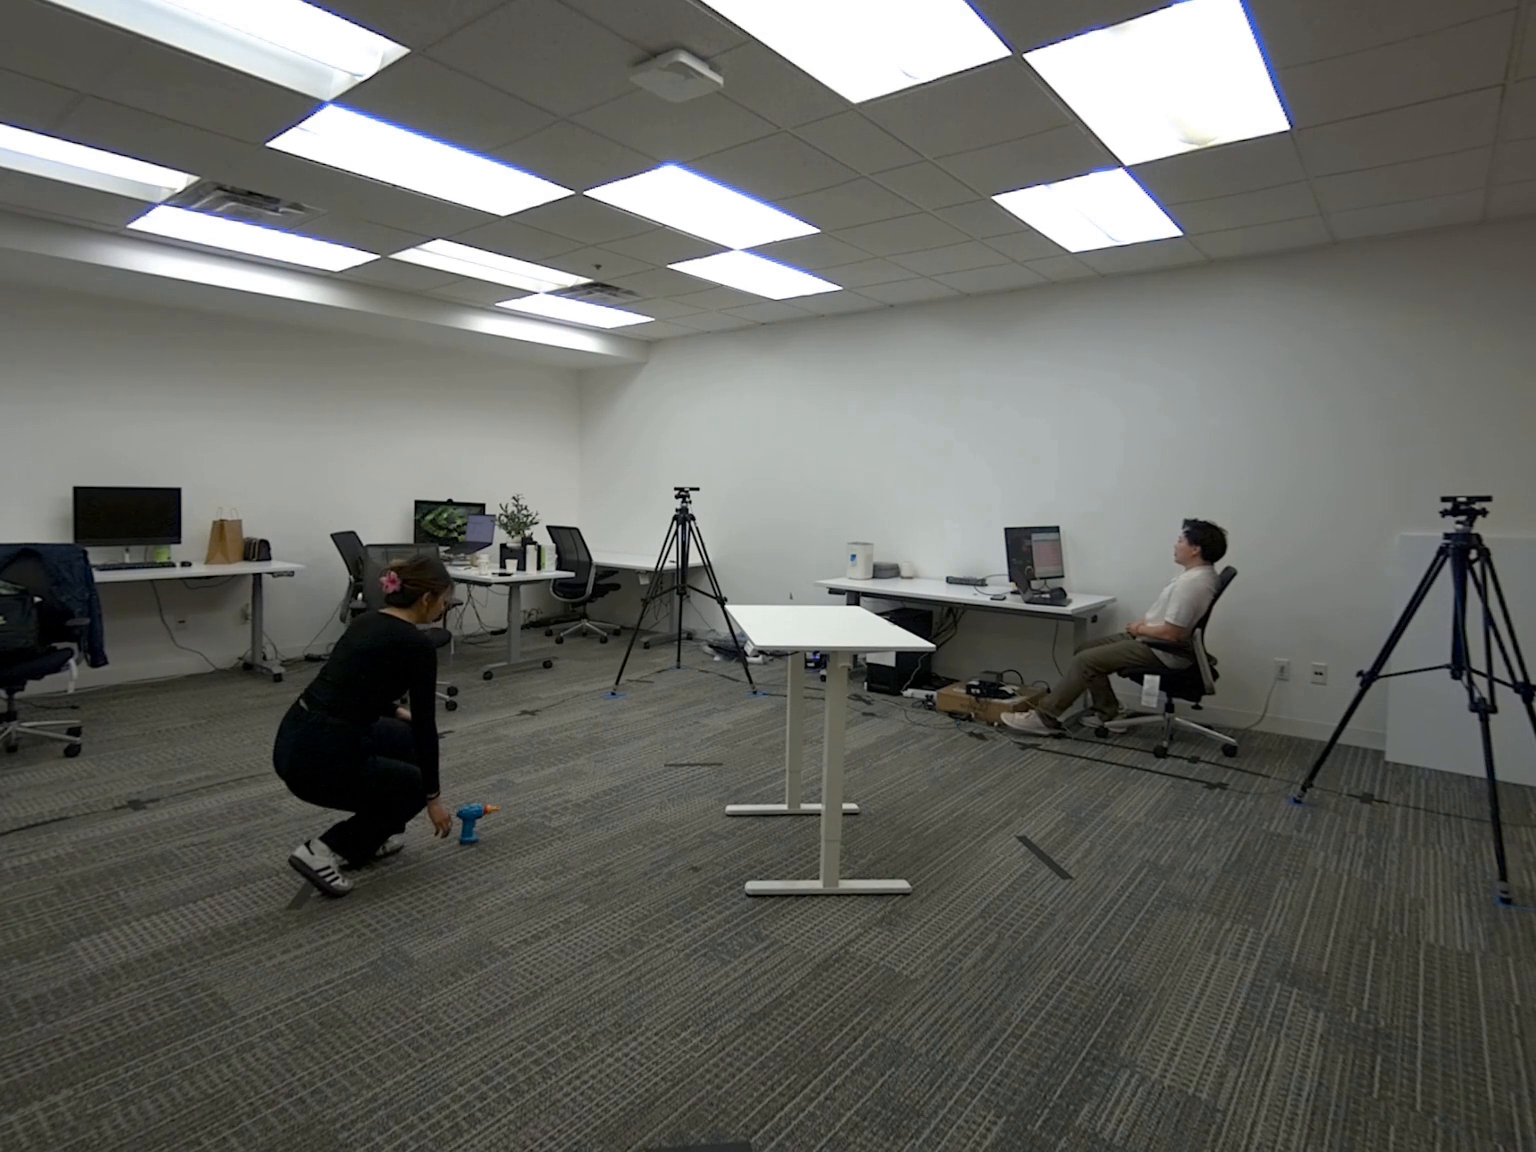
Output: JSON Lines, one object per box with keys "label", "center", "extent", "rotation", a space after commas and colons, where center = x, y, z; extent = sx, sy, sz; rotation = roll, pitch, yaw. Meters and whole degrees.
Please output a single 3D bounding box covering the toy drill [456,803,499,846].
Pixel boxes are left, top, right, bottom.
{"label": "toy drill", "center": [-1.153, 0.965, 3.322], "extent": [0.165, 0.146, 0.063], "rotation": [-1, 2, -32]}
